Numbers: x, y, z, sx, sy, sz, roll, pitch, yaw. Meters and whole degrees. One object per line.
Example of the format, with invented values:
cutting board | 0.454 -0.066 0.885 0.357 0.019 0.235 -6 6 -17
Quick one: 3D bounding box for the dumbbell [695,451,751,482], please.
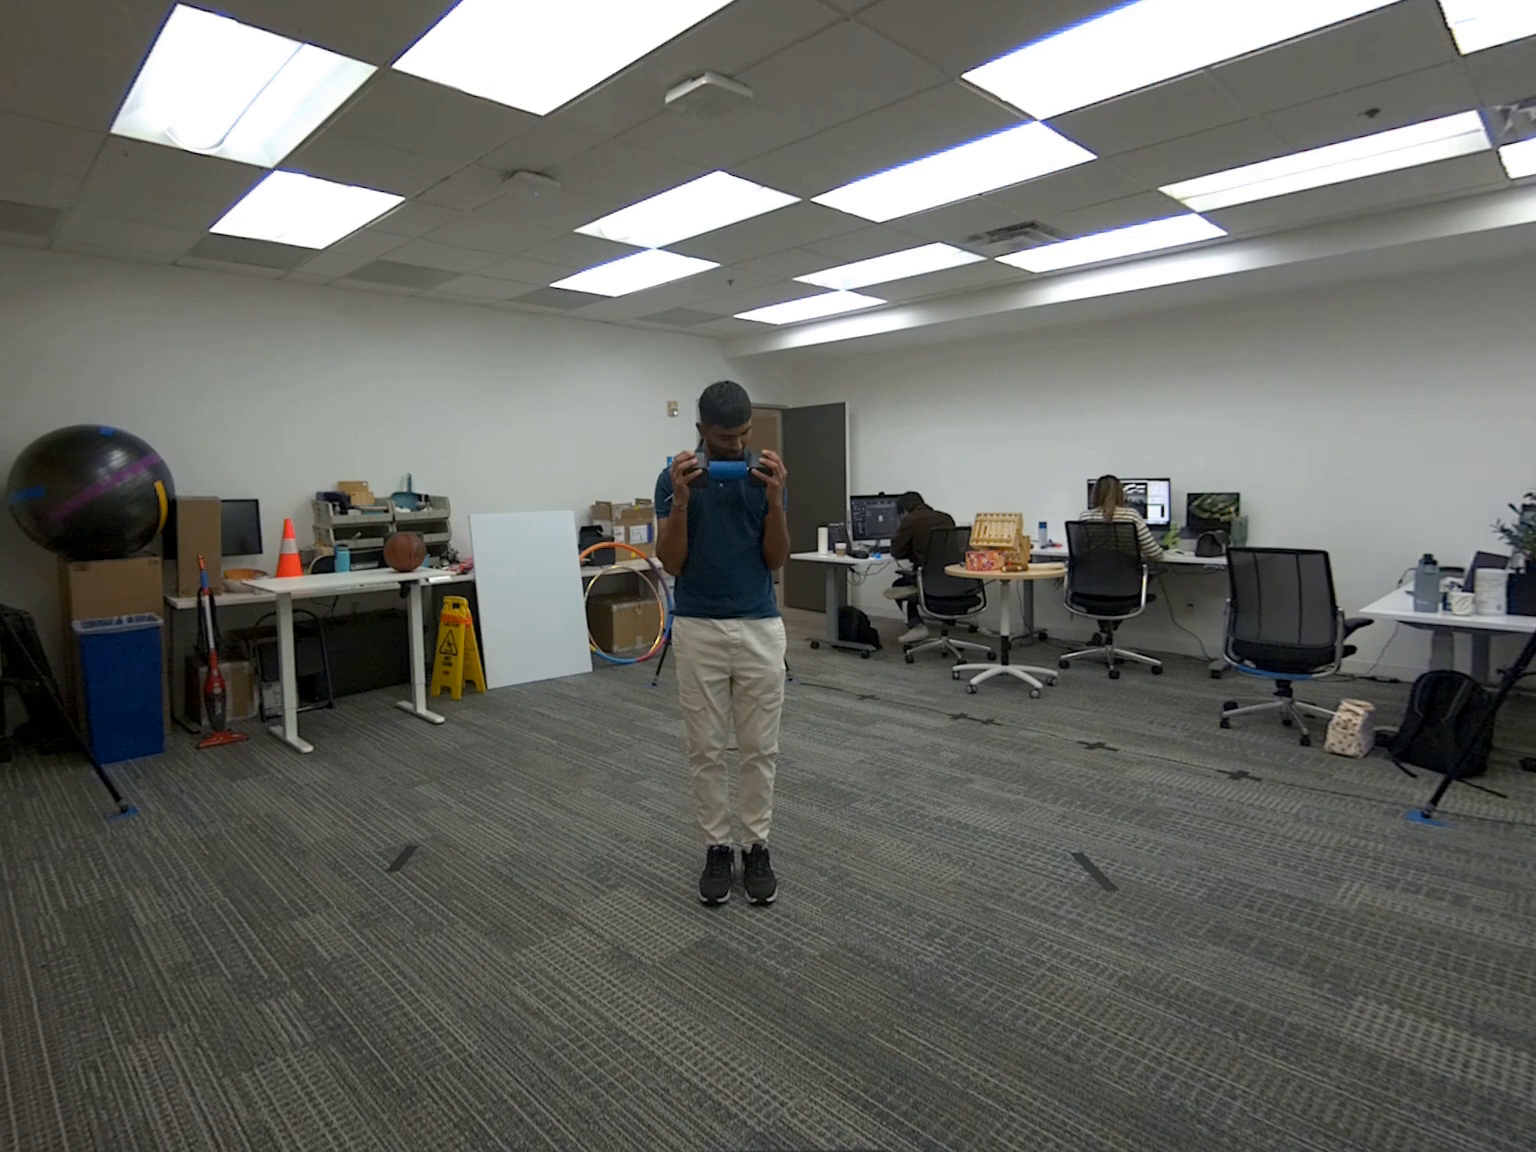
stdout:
dumbbell | -0.144 -0.332 2.758 0.294 0.126 0.106 1 -38 1
